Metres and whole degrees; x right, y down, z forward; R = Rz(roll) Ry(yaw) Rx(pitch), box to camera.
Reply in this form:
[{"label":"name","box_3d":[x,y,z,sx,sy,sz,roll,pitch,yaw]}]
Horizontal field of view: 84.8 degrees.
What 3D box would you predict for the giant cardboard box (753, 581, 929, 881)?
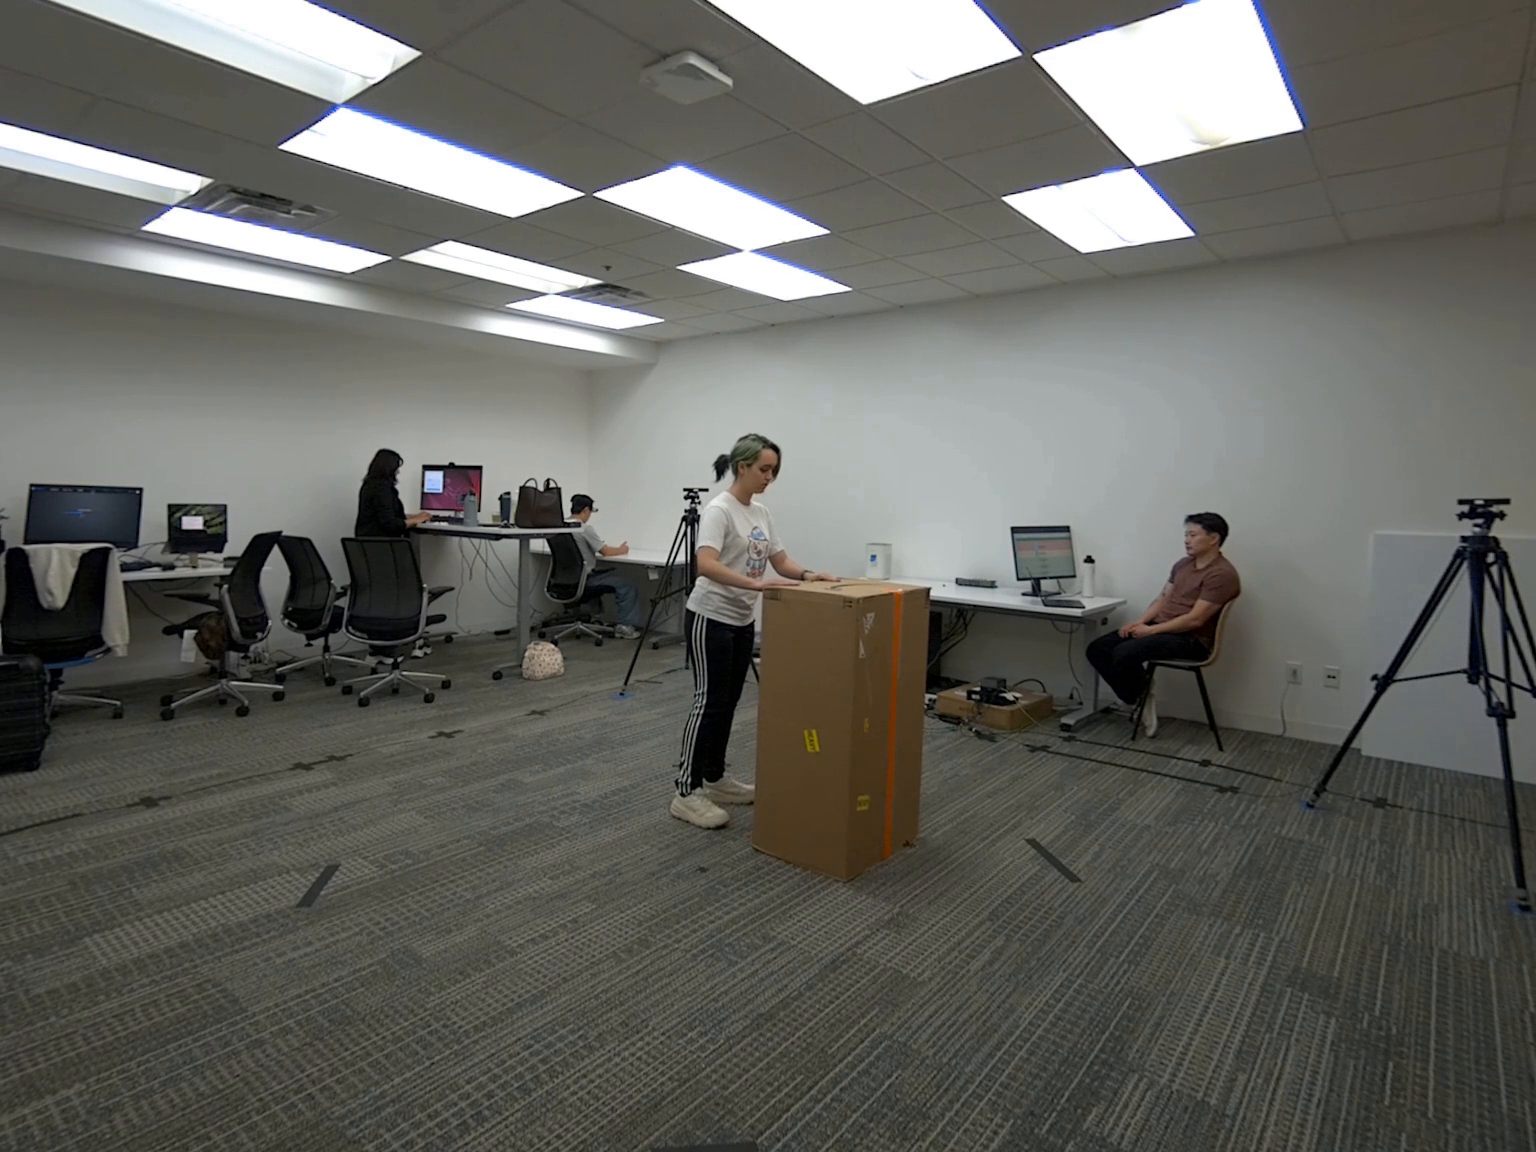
[{"label":"giant cardboard box","box_3d":[0.292,0.551,3.345,0.461,1.025,0.566,3,3,37]}]
